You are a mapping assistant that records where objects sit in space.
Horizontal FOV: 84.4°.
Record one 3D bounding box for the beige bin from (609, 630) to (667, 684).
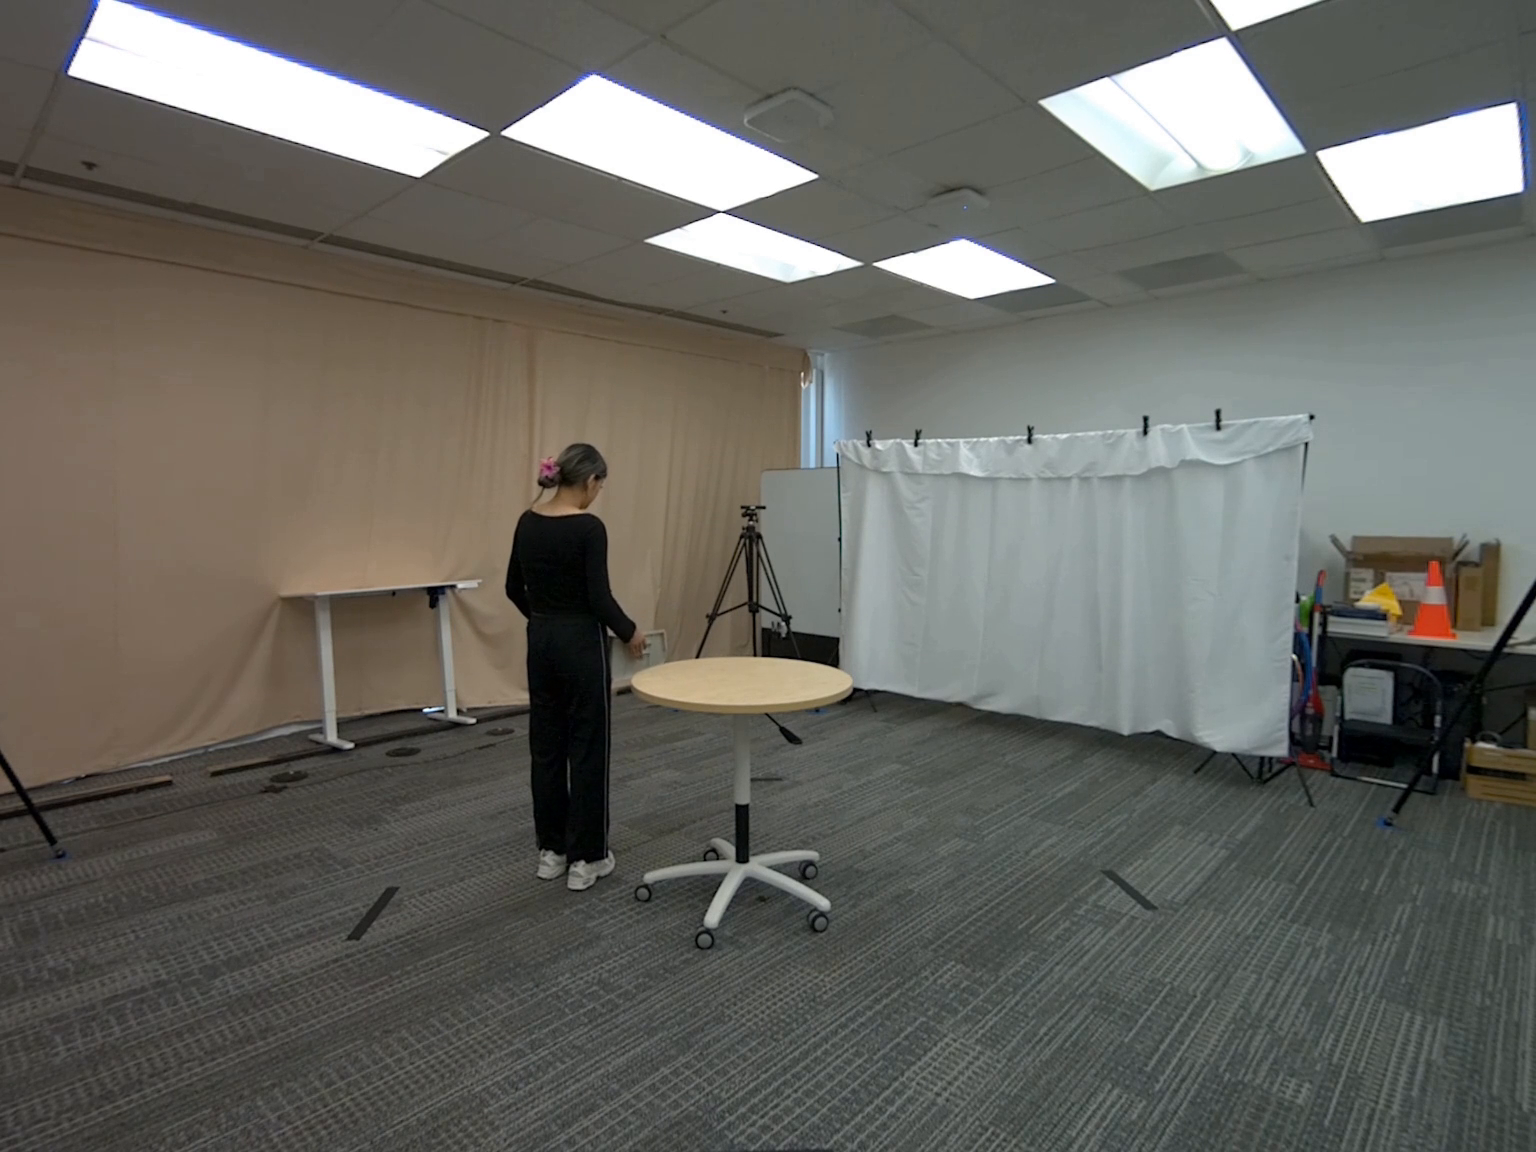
[{"bbox_3d":[-0.690,0.291,3.459,0.434,0.188,0.368,6,5,27],"label":"beige bin"}]
